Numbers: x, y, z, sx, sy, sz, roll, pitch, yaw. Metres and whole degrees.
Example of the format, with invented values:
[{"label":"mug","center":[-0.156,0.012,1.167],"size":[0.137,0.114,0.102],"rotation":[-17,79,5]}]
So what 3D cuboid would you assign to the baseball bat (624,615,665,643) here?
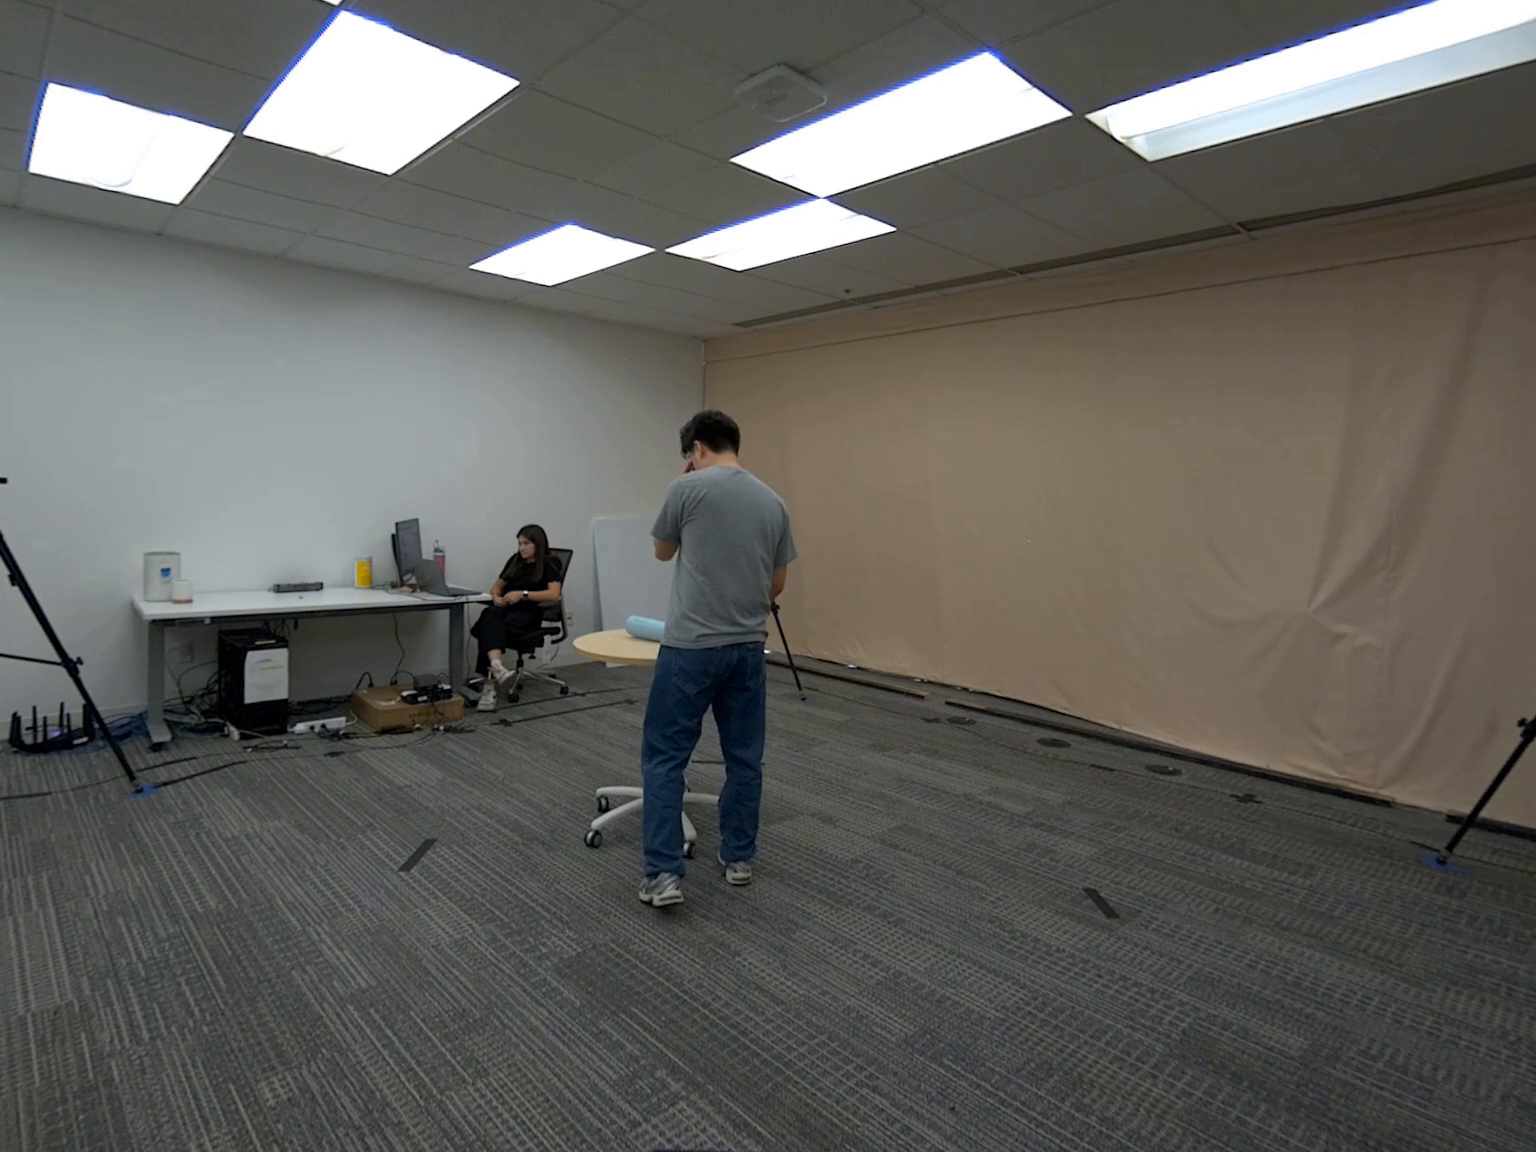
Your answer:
[{"label":"baseball bat","center":[-0.377,0.252,3.494],"size":[0.557,0.089,0.087],"rotation":[10,8,34]}]
